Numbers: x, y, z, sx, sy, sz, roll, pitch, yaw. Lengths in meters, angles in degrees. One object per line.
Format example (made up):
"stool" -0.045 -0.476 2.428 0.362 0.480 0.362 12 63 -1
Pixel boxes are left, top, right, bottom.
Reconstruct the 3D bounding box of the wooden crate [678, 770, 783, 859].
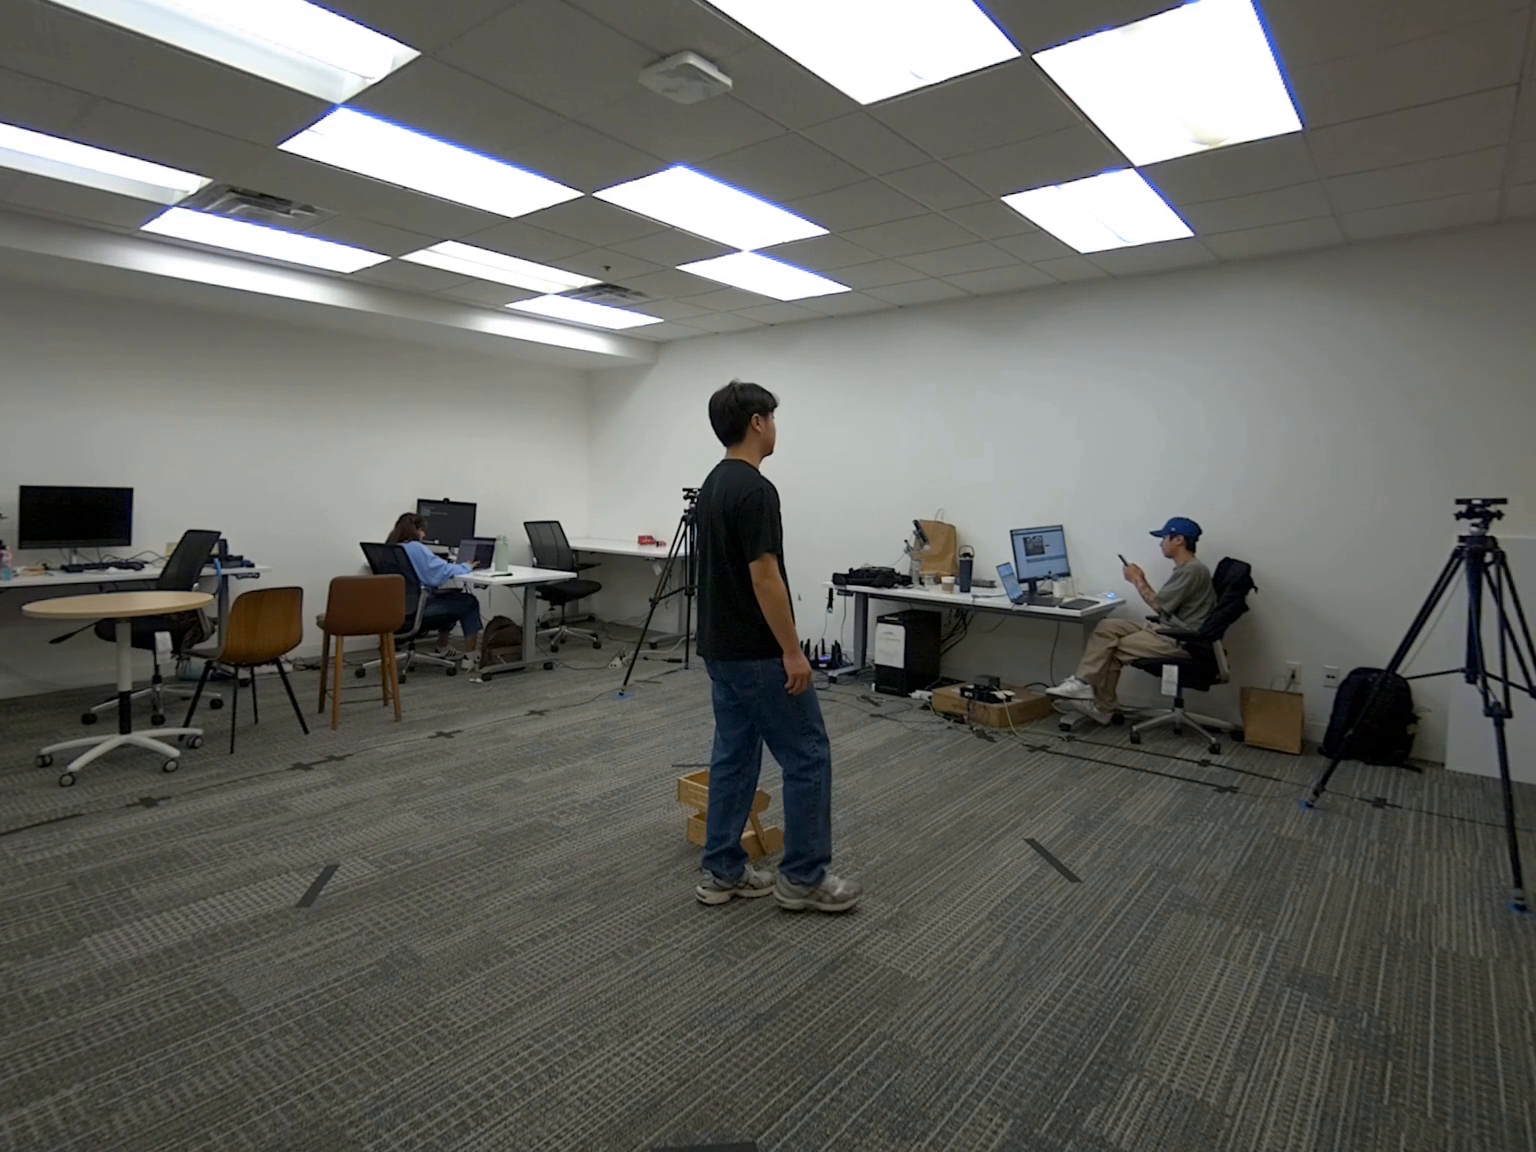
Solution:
"wooden crate" -0.150 0.914 3.330 0.336 0.272 0.293 6 7 42
